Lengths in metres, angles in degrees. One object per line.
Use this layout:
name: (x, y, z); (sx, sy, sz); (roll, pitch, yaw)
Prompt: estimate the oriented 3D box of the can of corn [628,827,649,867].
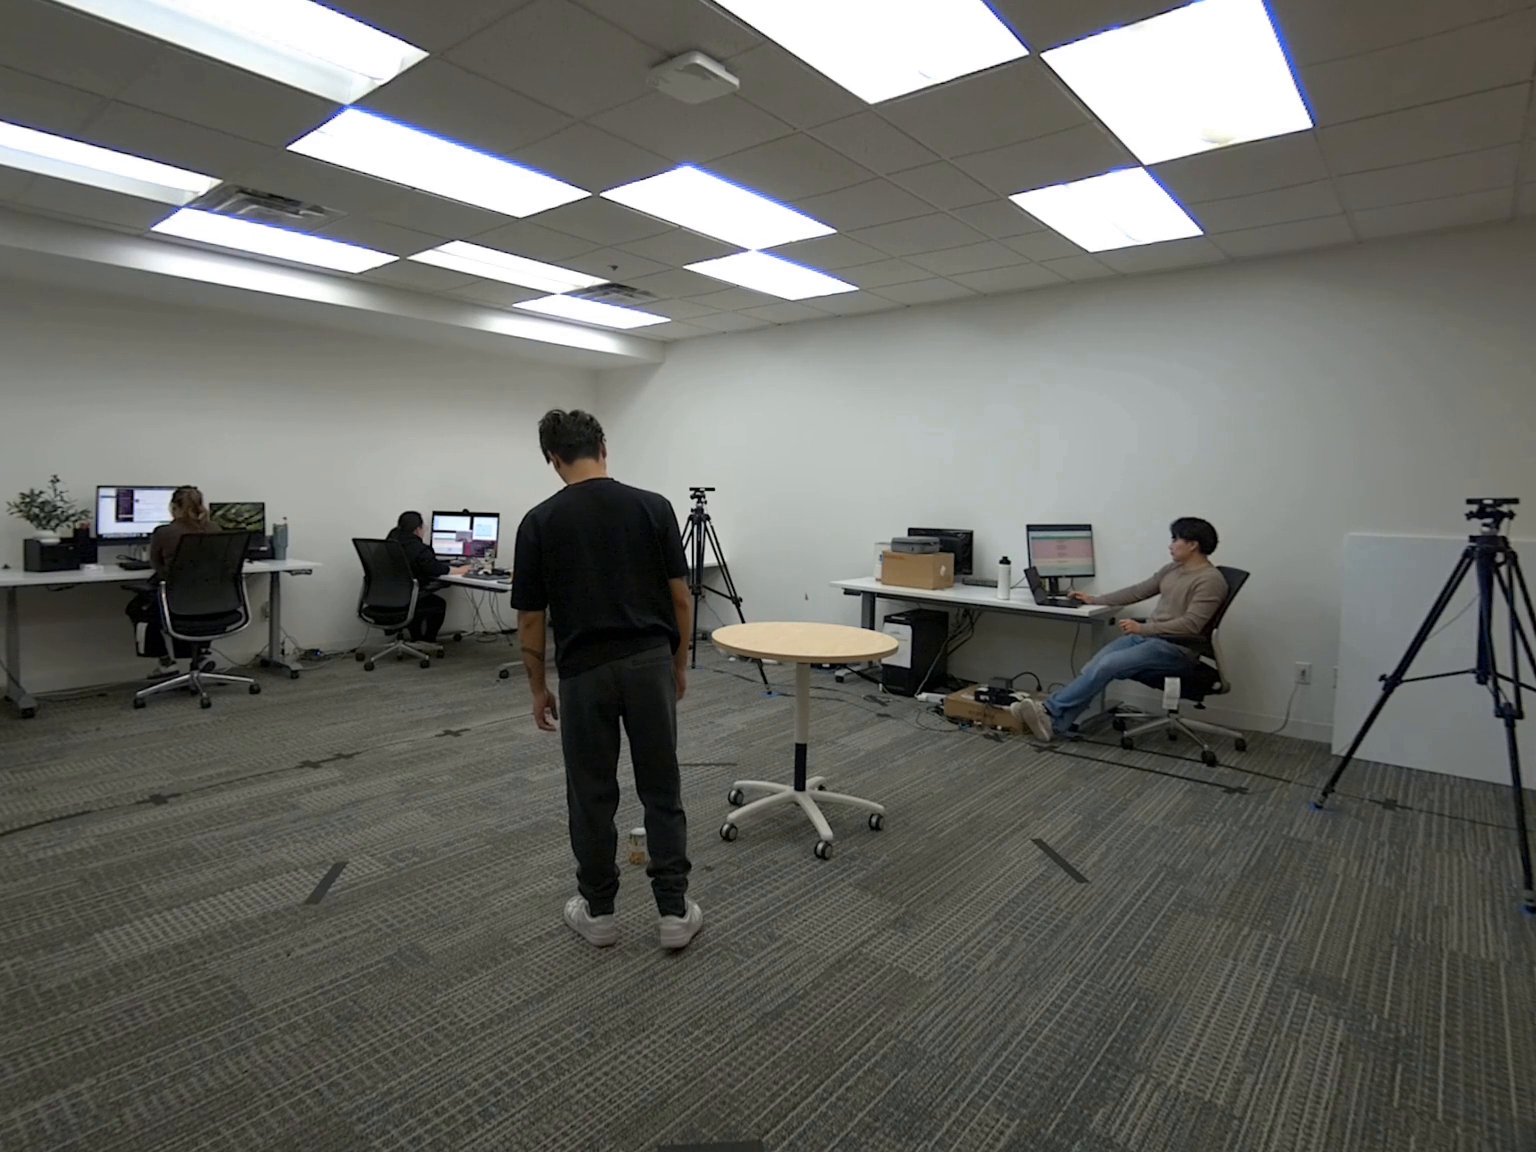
can of corn: (-0.487, 1.002, 3.167); (0.074, 0.111, 0.074); (3, 4, -2)
